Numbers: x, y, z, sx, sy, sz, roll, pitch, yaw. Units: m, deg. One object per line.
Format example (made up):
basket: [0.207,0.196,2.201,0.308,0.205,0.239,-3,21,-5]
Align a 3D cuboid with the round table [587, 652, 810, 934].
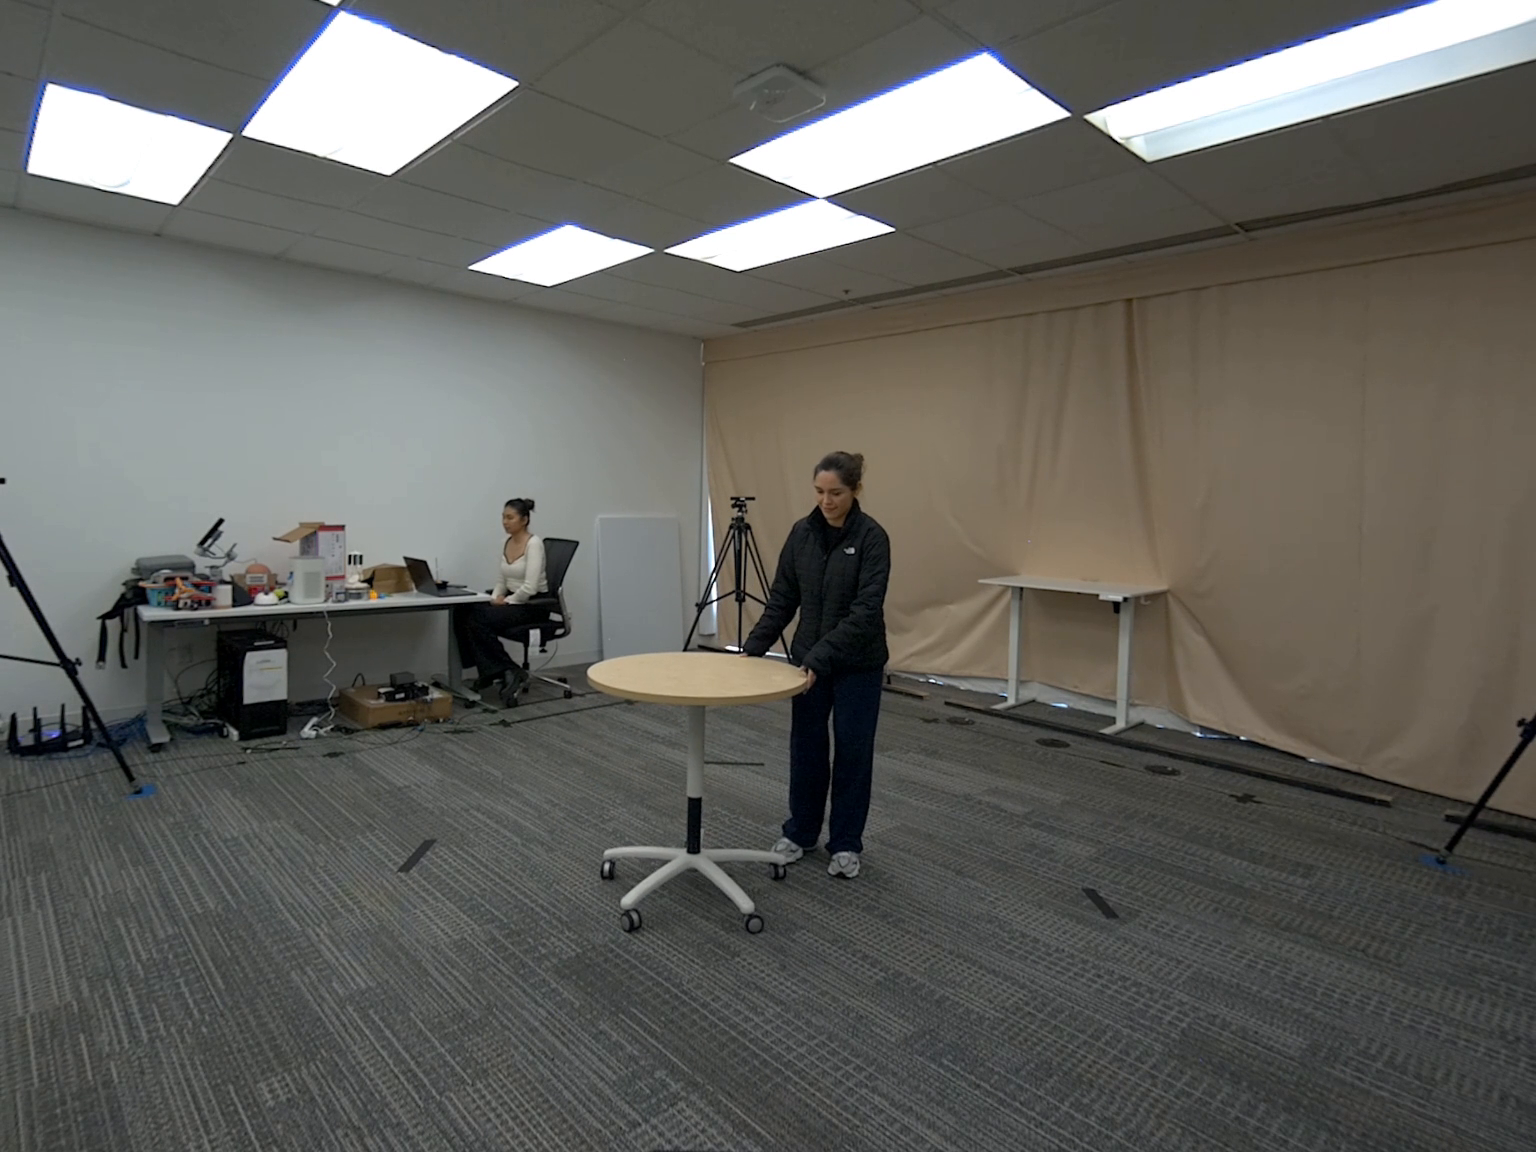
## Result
round table: [-0.244,0.725,2.941,0.784,0.784,0.788,1,4,-1]
